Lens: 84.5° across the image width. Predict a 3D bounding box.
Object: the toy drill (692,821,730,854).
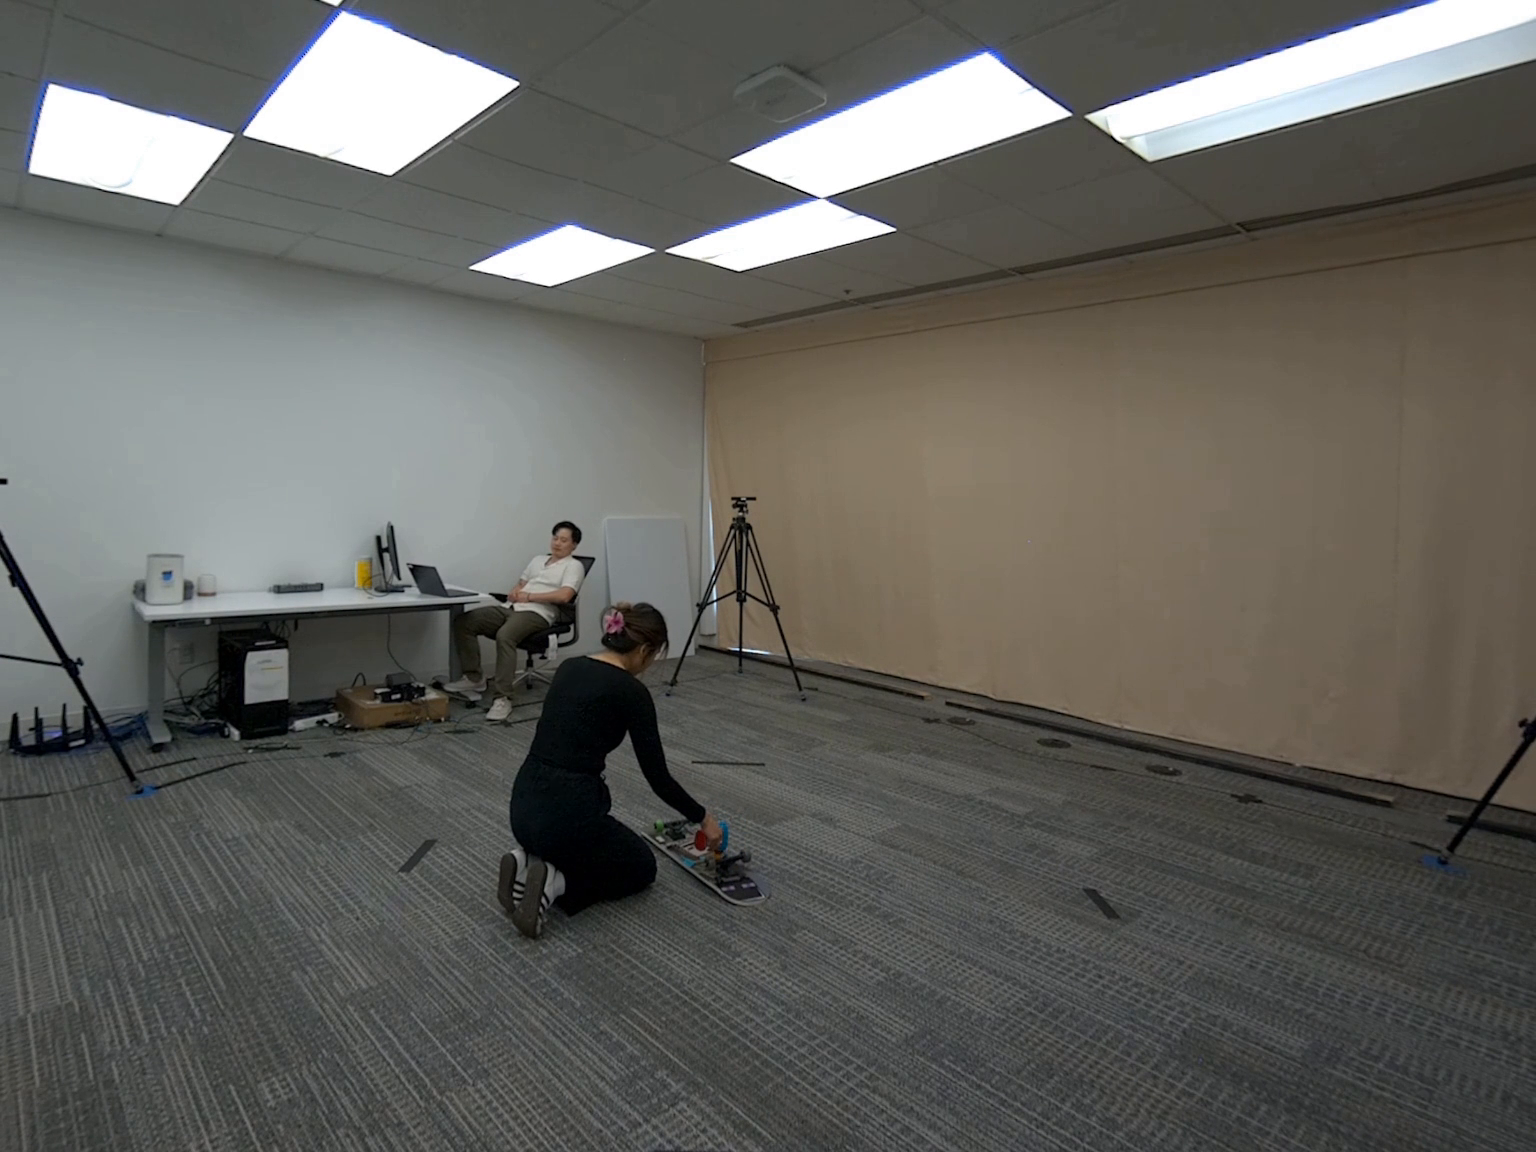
[{"bbox_3d":[-0.215,0.980,3.035,0.063,0.169,0.142,10,3,42],"label":"toy drill"}]
